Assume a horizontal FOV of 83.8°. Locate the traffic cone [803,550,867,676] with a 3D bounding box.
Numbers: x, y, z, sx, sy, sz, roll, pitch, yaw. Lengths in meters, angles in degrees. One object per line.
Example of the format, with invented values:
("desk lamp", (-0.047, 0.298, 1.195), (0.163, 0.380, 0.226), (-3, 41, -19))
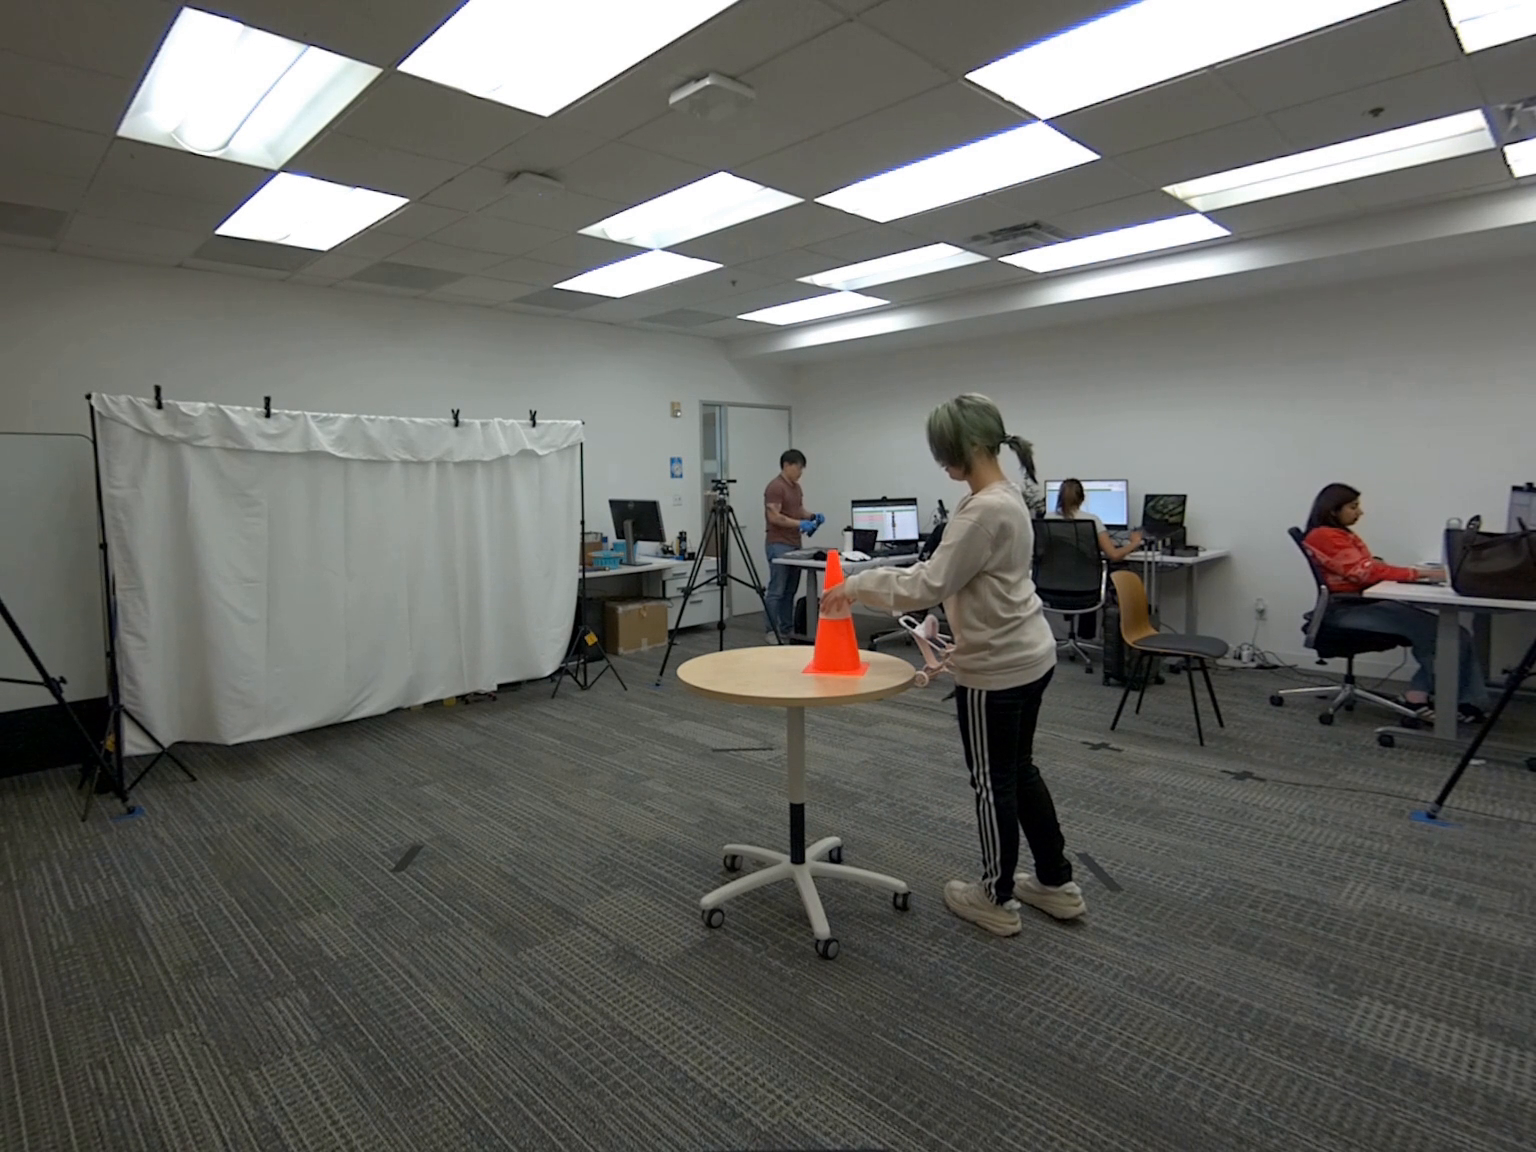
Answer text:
("traffic cone", (0.228, 0.108, 2.748), (0.207, 0.382, 0.202), (0, 4, 18))
